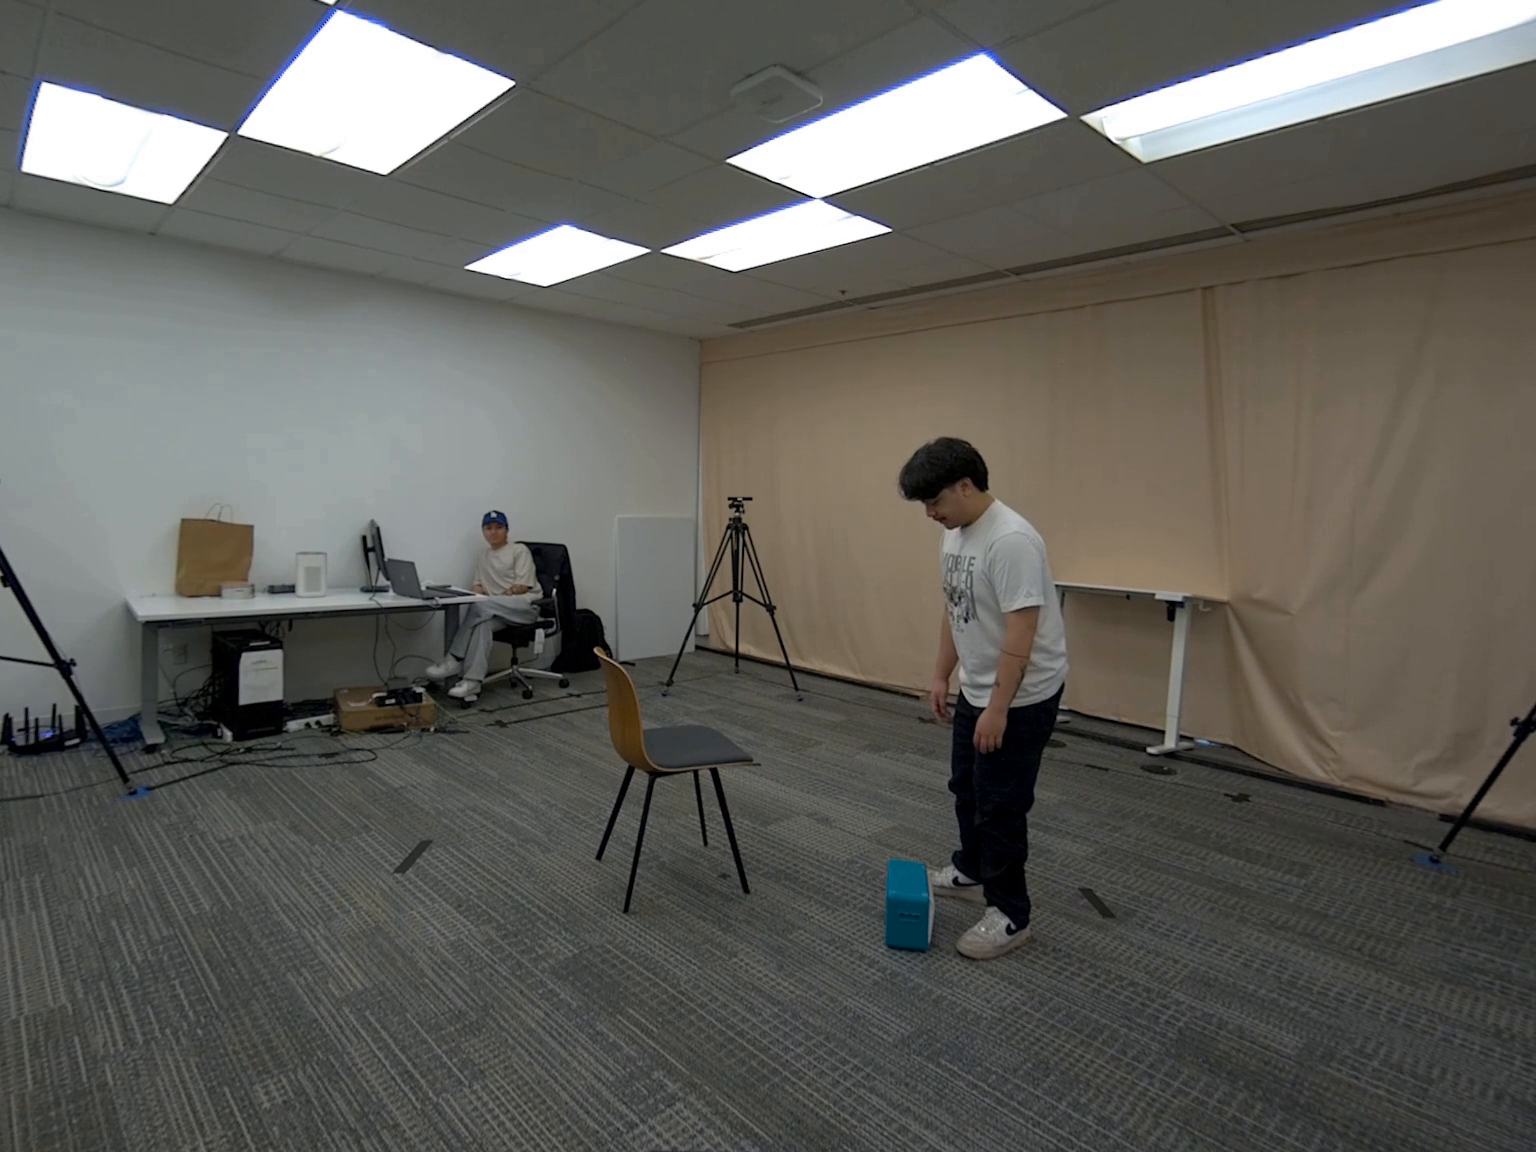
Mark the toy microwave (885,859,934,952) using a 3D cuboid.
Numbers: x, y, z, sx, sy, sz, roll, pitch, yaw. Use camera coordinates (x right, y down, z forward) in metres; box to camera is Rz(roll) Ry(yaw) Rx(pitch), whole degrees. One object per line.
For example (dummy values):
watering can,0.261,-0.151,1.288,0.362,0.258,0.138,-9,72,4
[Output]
toy microwave,0.452,1.064,2.733,0.153,0.183,0.285,0,5,8
